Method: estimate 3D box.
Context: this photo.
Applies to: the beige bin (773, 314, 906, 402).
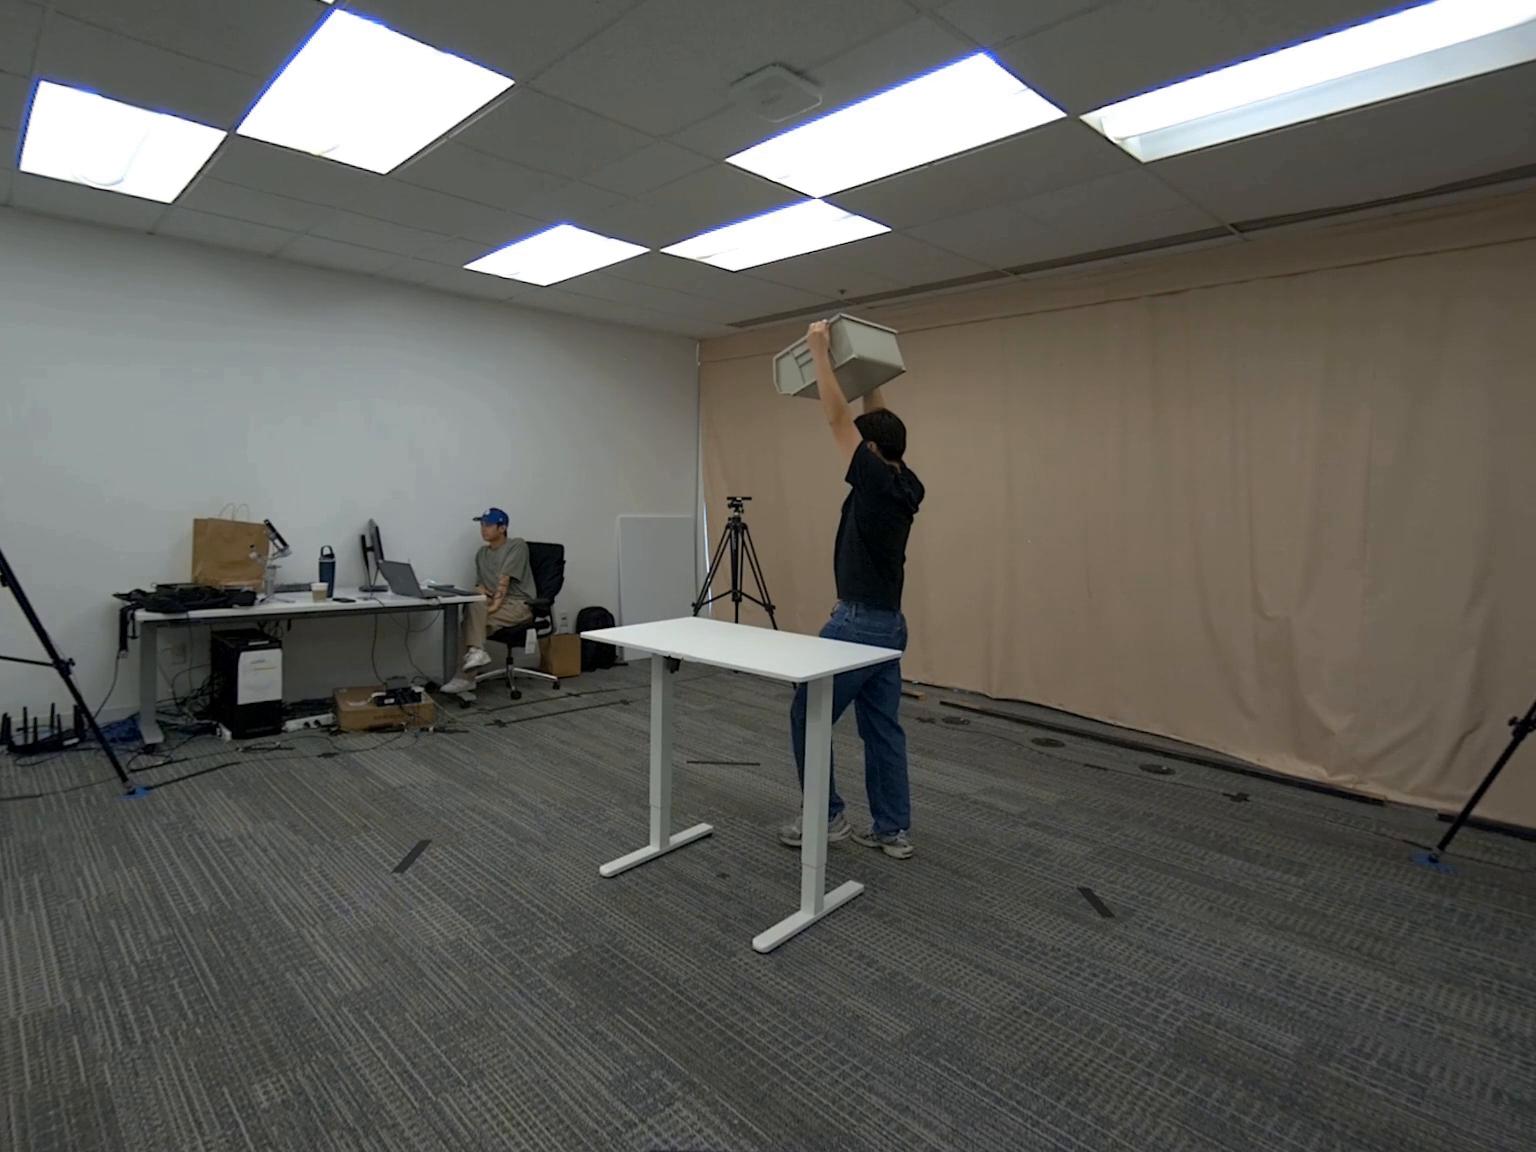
[{"bbox_3d":[0.283,-0.847,3.403,0.382,0.191,0.413,-24,-12,38],"label":"beige bin"}]
